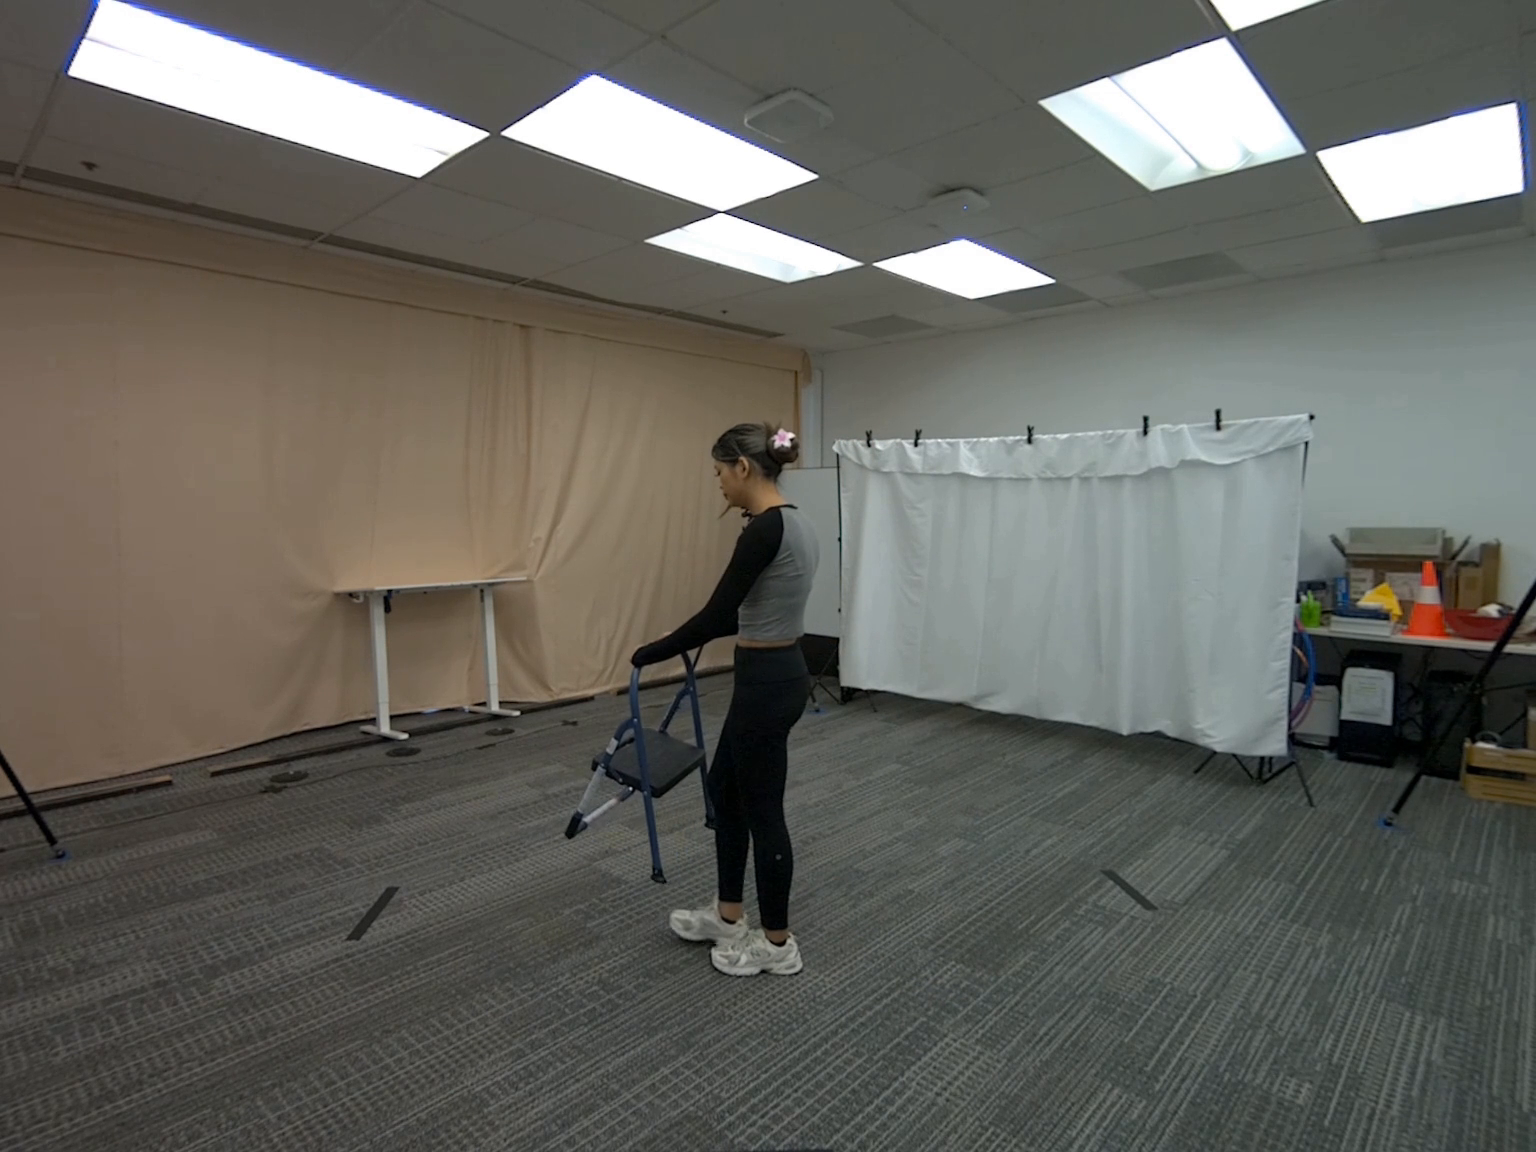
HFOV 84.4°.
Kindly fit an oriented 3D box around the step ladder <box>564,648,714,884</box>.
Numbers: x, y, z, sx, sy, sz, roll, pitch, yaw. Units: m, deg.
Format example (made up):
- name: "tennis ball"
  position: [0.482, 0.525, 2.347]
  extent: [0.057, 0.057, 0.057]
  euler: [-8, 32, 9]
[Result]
- name: "step ladder"
  position: [-0.327, 0.530, 2.633]
  extent: [0.357, 0.604, 0.422]
  euler: [15, 10, 19]
